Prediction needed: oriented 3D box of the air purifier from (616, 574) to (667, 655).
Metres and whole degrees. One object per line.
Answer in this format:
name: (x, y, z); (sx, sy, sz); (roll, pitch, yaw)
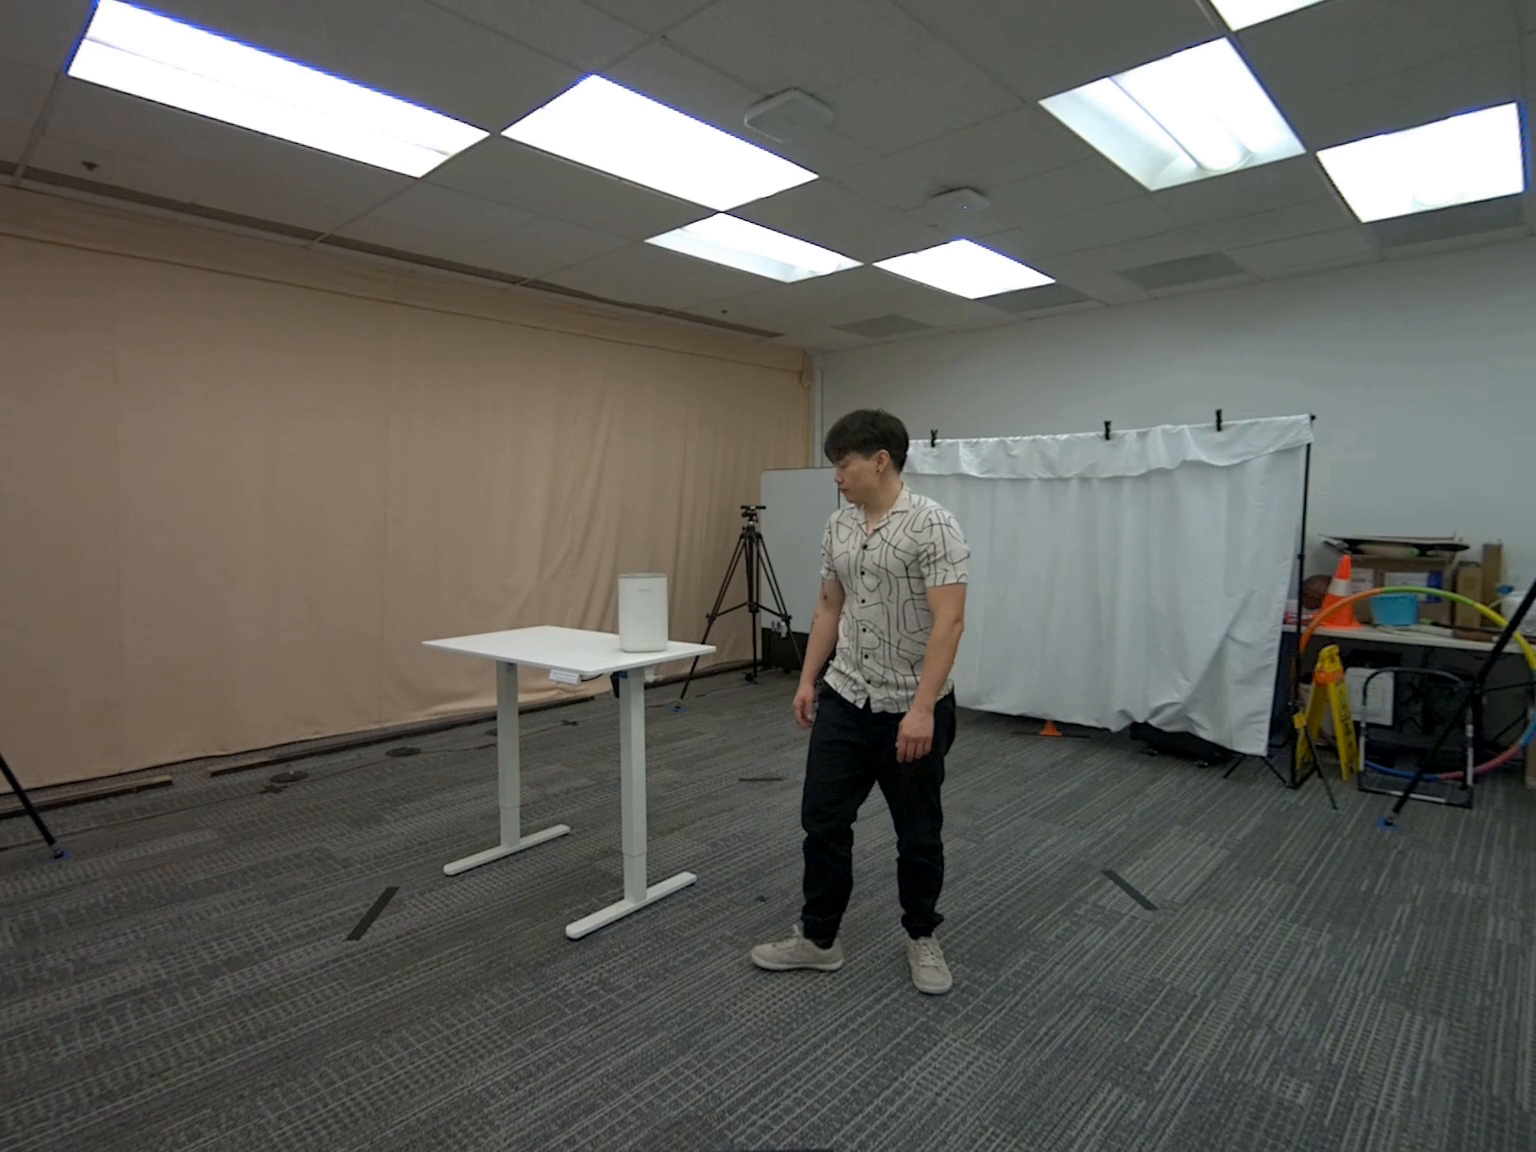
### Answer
air purifier: (-0.447, 0.129, 2.983); (0.170, 0.265, 0.173); (0, 2, -7)
